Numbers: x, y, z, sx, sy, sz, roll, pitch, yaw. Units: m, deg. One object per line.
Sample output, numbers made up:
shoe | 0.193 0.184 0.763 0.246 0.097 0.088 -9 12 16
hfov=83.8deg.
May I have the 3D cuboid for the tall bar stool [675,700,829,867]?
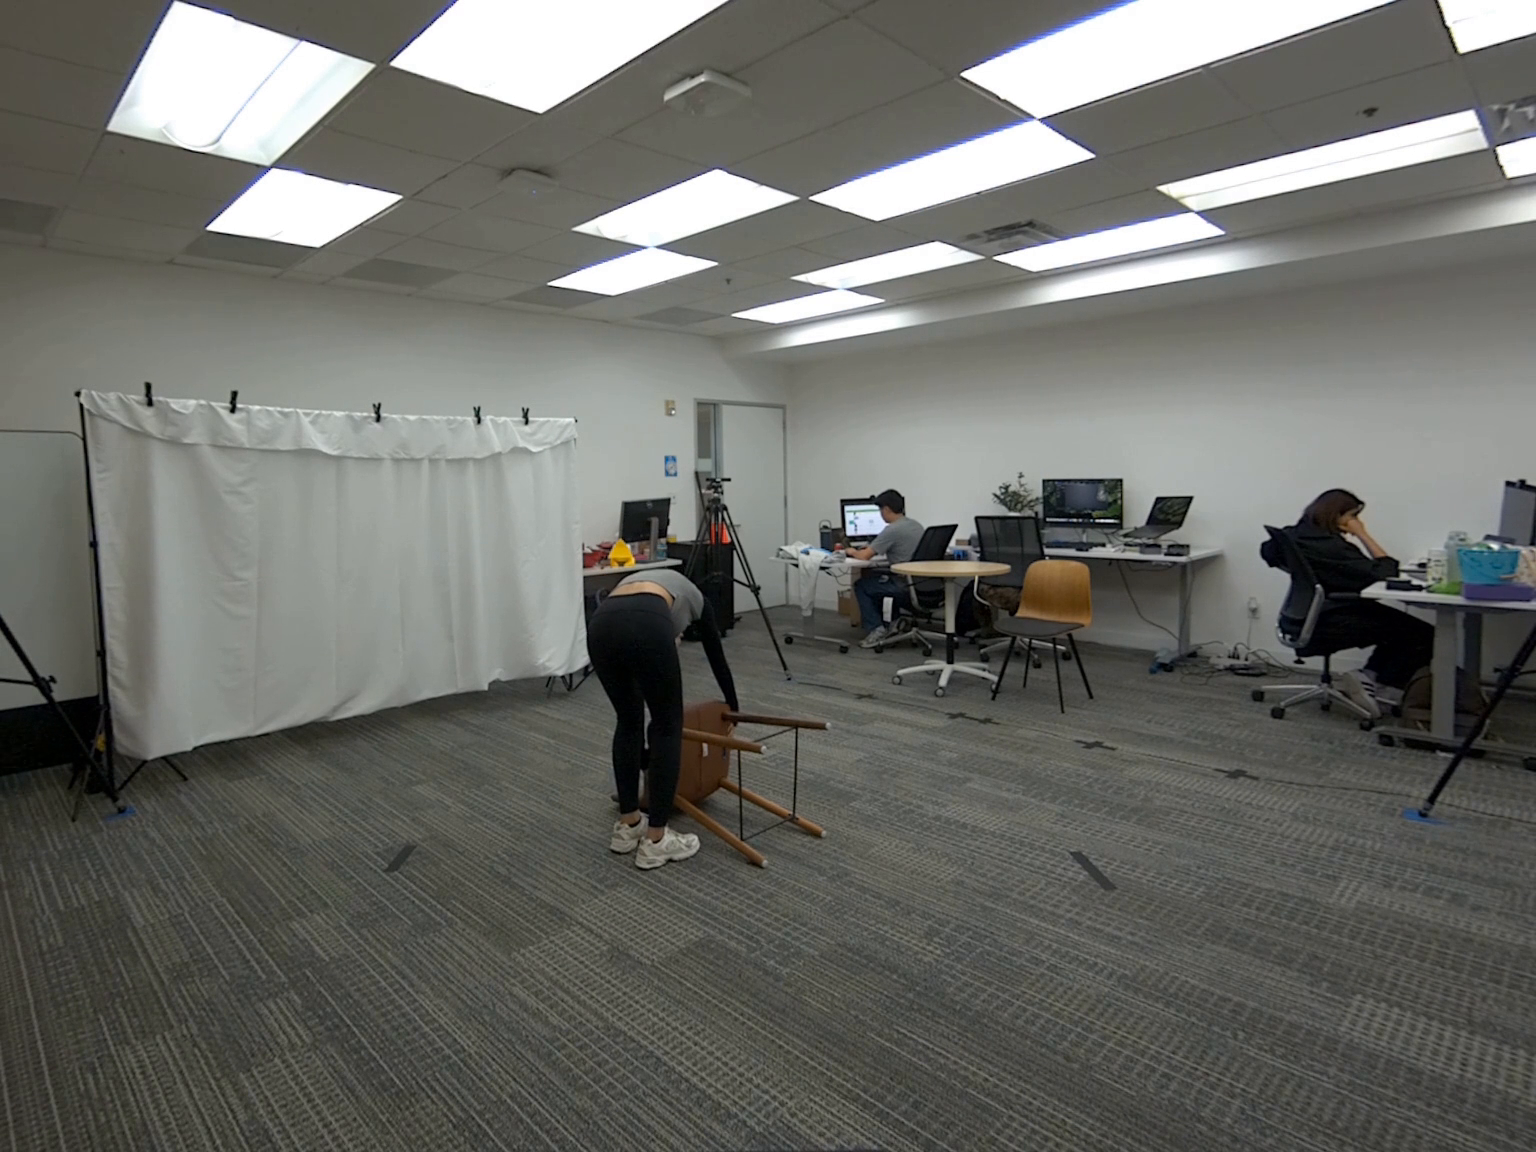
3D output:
tall bar stool | -0.220 0.775 3.476 0.917 0.466 0.444 4 7 43
